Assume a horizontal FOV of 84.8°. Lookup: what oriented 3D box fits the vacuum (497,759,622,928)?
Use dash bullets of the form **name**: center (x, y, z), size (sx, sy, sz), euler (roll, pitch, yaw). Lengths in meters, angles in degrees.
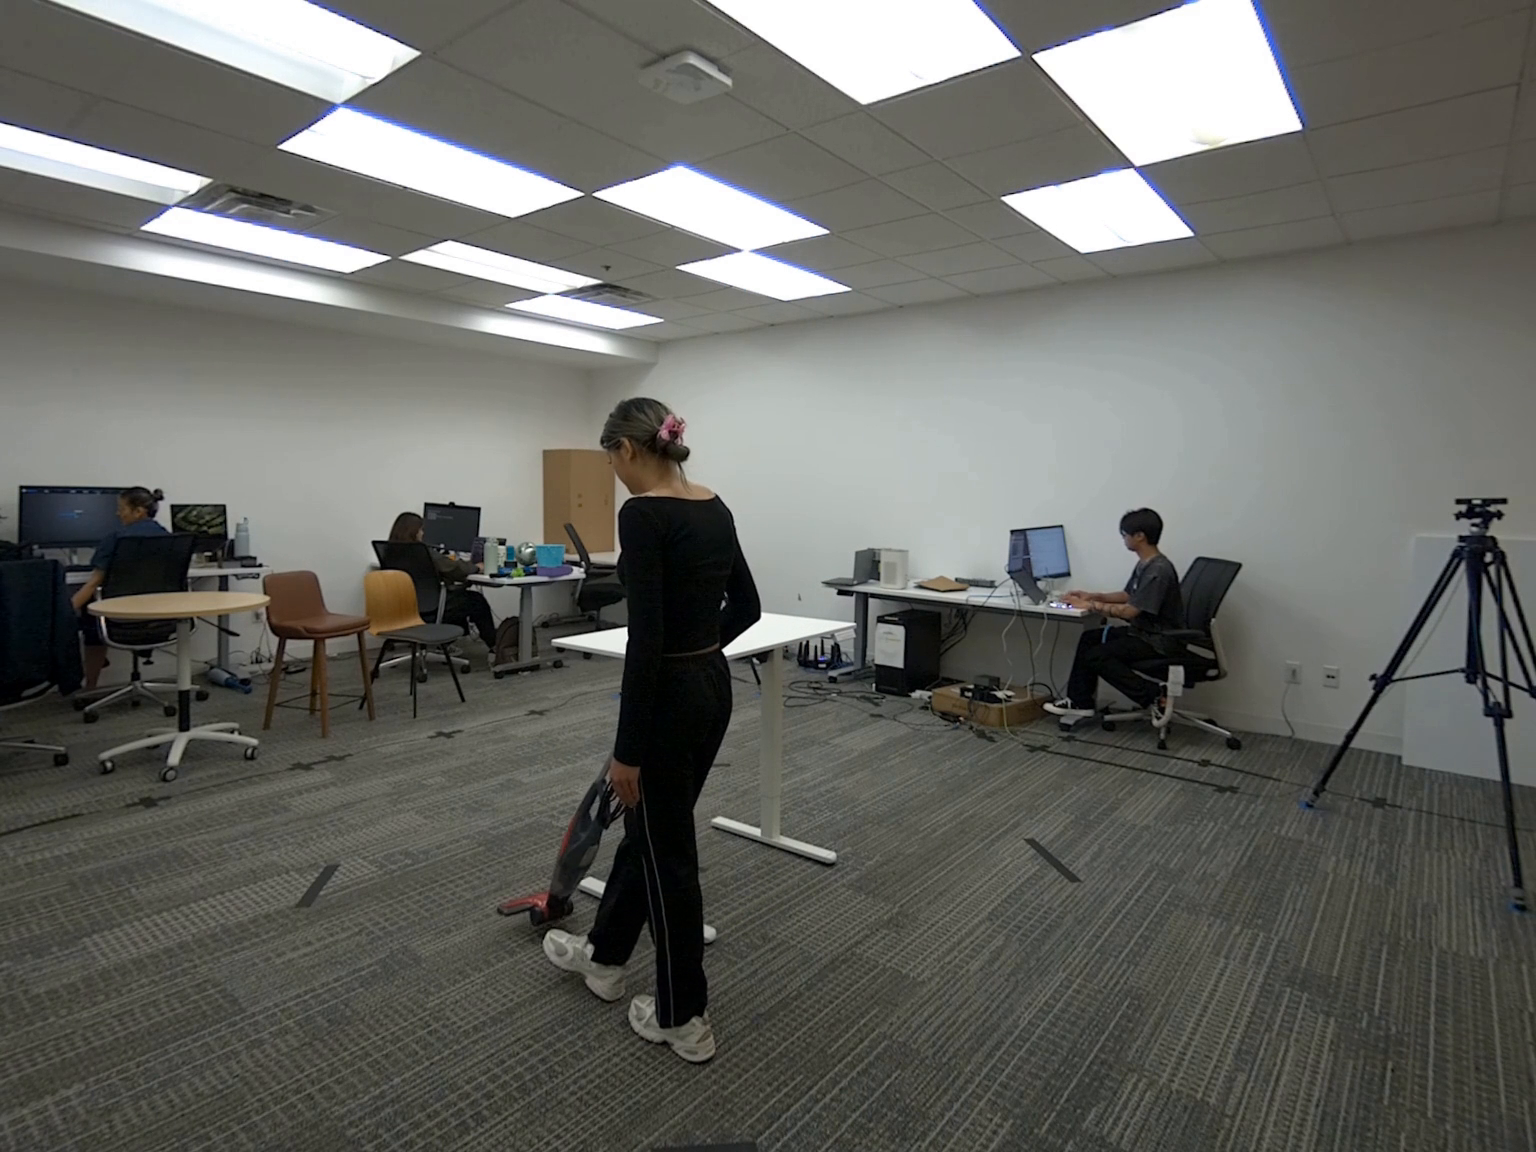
- **vacuum**: center (-0.494, 0.641, 2.488), size (0.244, 1.042, 0.150), euler (1, 35, -51)
